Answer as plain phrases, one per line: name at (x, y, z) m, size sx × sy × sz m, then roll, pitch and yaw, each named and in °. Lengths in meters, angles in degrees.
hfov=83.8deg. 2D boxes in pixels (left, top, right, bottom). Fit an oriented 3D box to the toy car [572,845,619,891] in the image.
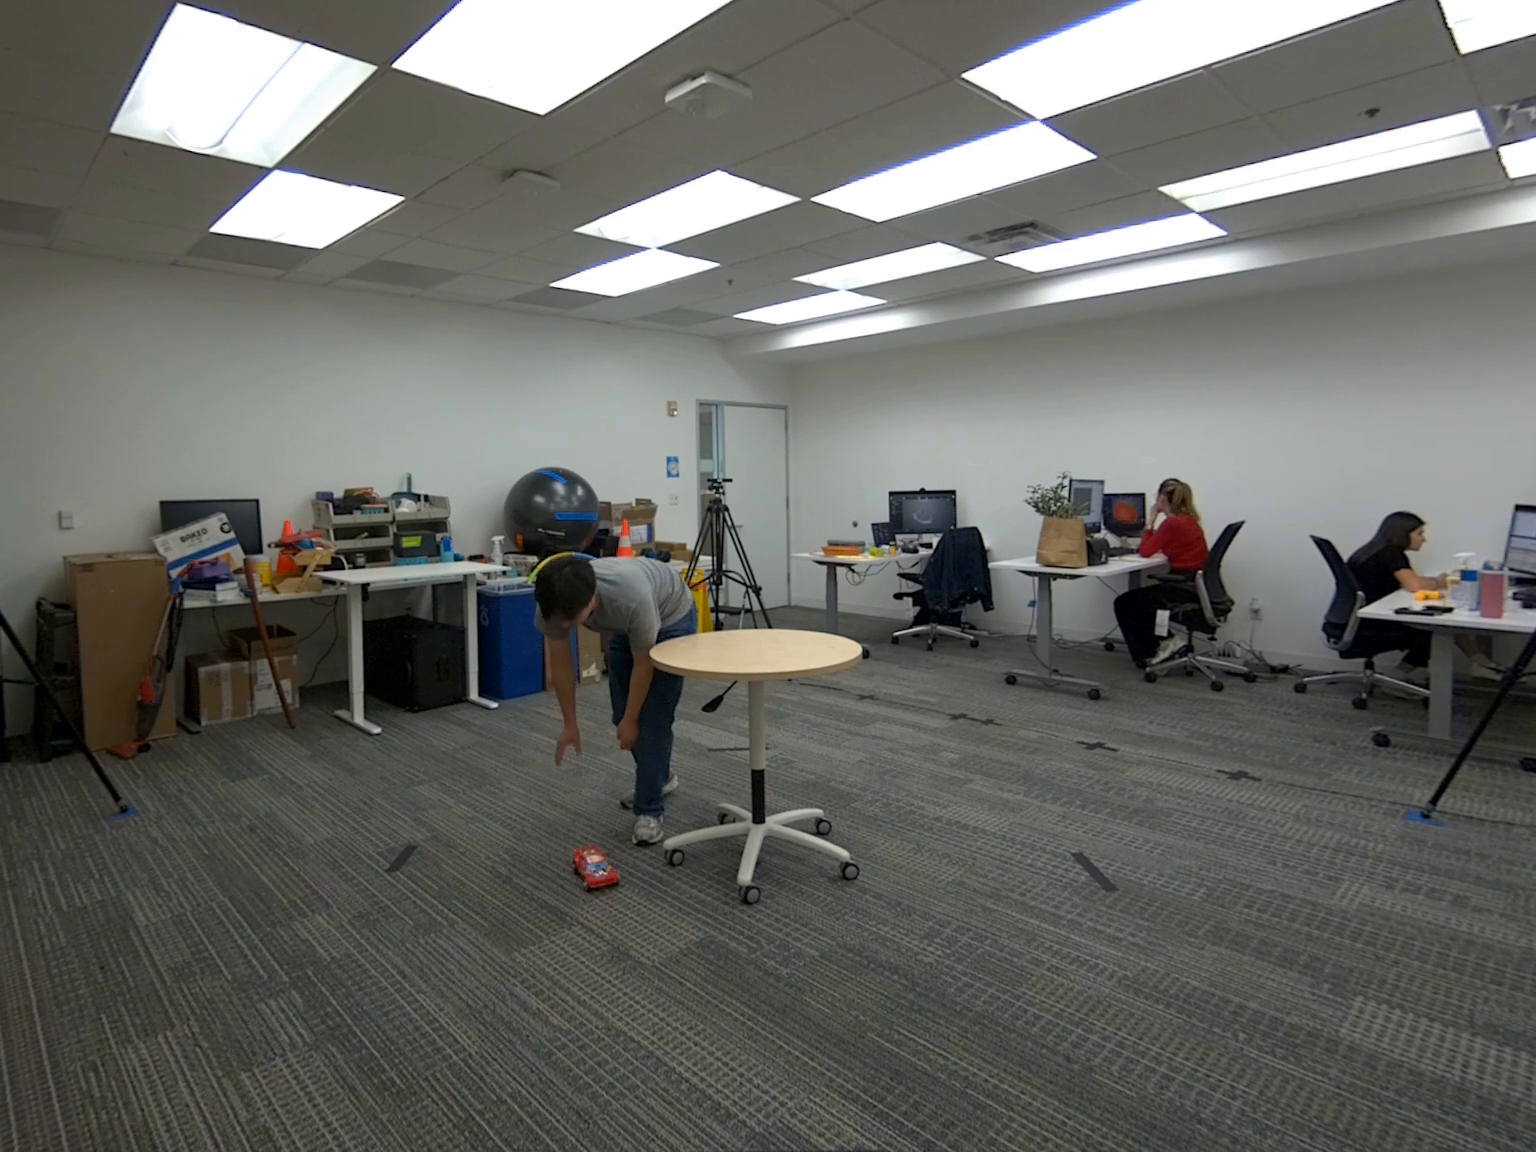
toy car at (-0.619, 1.040, 3.028) m, size 0.128 × 0.082 × 0.263 m, roll -5°, pitch 17°, yaw -25°
